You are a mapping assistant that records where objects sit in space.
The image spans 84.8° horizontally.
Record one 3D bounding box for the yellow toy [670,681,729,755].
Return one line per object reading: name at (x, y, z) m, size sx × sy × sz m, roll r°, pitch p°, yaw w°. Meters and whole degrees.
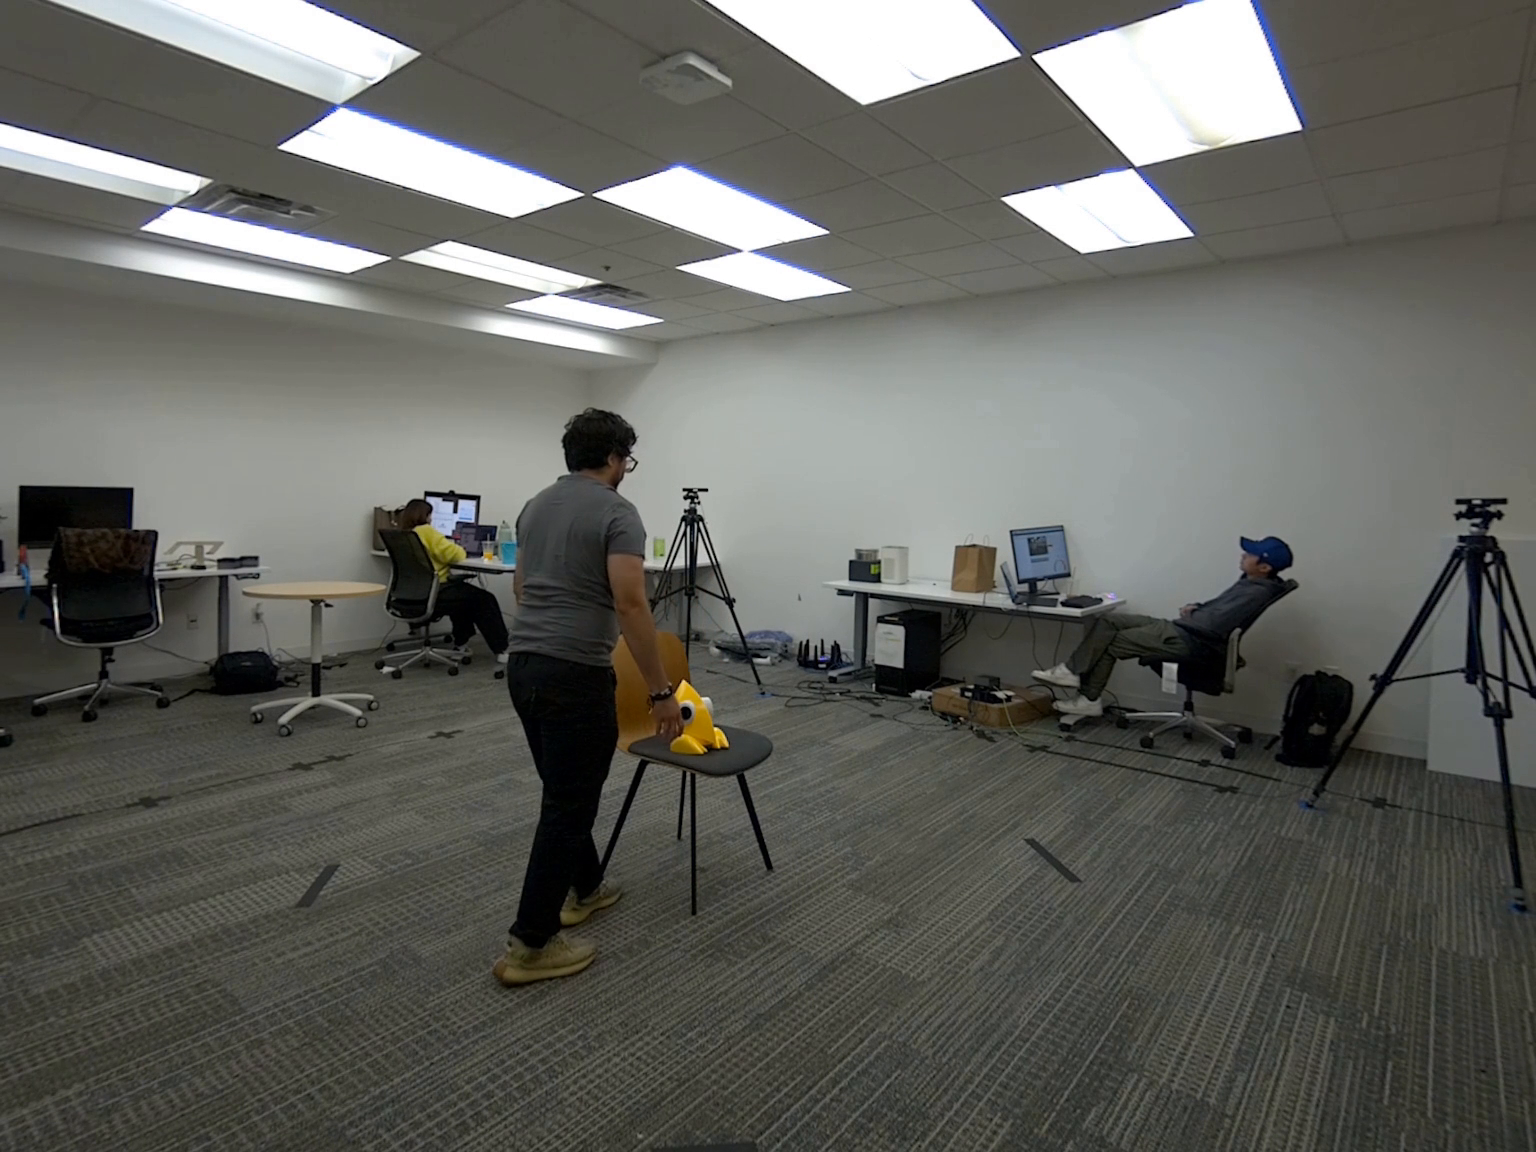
yellow toy at (-0.266, 0.487, 3.001) m, size 0.199 × 0.231 × 0.198 m, roll -2°, pitch -1°, yaw 42°
